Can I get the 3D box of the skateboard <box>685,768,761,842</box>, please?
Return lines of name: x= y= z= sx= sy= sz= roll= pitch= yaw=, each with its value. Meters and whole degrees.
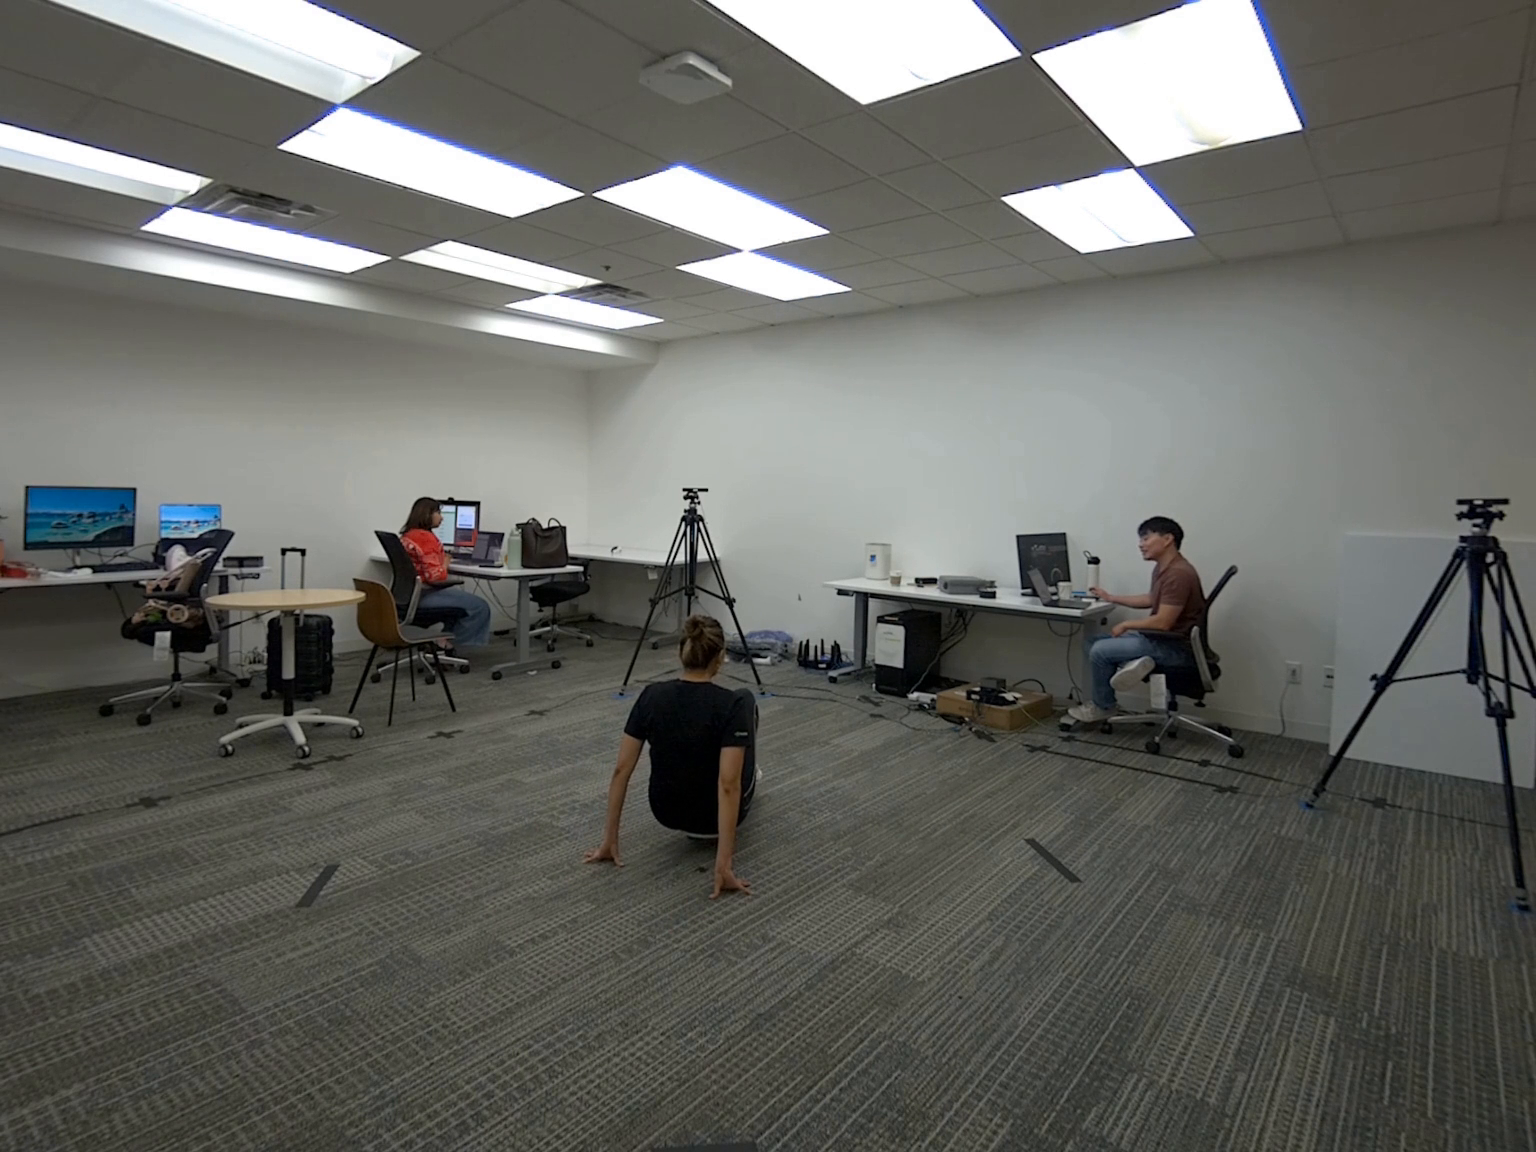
skateboard: x=-0.211 y=0.967 z=3.565 sx=0.195 sy=0.110 sz=0.782 roll=3 pitch=6 yaw=6
